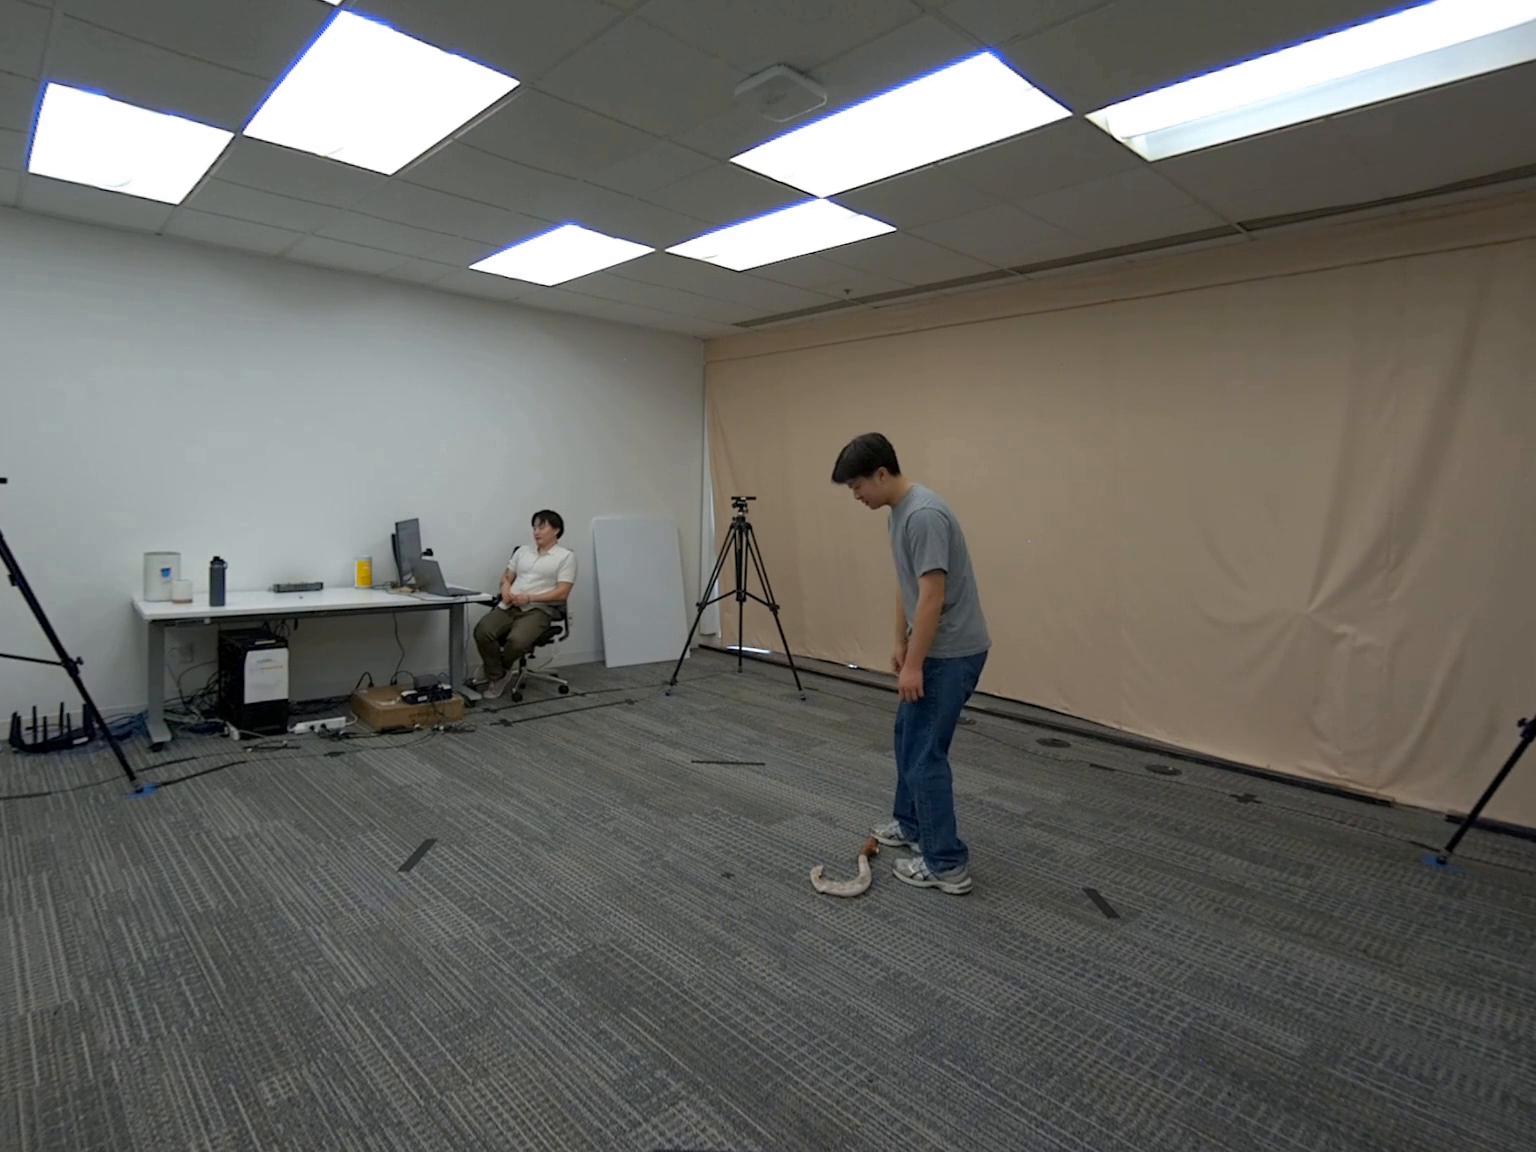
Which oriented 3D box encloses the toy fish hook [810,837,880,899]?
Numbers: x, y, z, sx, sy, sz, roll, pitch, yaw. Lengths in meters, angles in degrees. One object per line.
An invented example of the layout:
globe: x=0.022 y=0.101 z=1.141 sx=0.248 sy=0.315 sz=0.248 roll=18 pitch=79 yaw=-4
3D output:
toy fish hook: x=0.295 y=1.086 z=3.186 sx=0.228 sy=0.048 sz=0.500 roll=4 pitch=5 yaw=18
